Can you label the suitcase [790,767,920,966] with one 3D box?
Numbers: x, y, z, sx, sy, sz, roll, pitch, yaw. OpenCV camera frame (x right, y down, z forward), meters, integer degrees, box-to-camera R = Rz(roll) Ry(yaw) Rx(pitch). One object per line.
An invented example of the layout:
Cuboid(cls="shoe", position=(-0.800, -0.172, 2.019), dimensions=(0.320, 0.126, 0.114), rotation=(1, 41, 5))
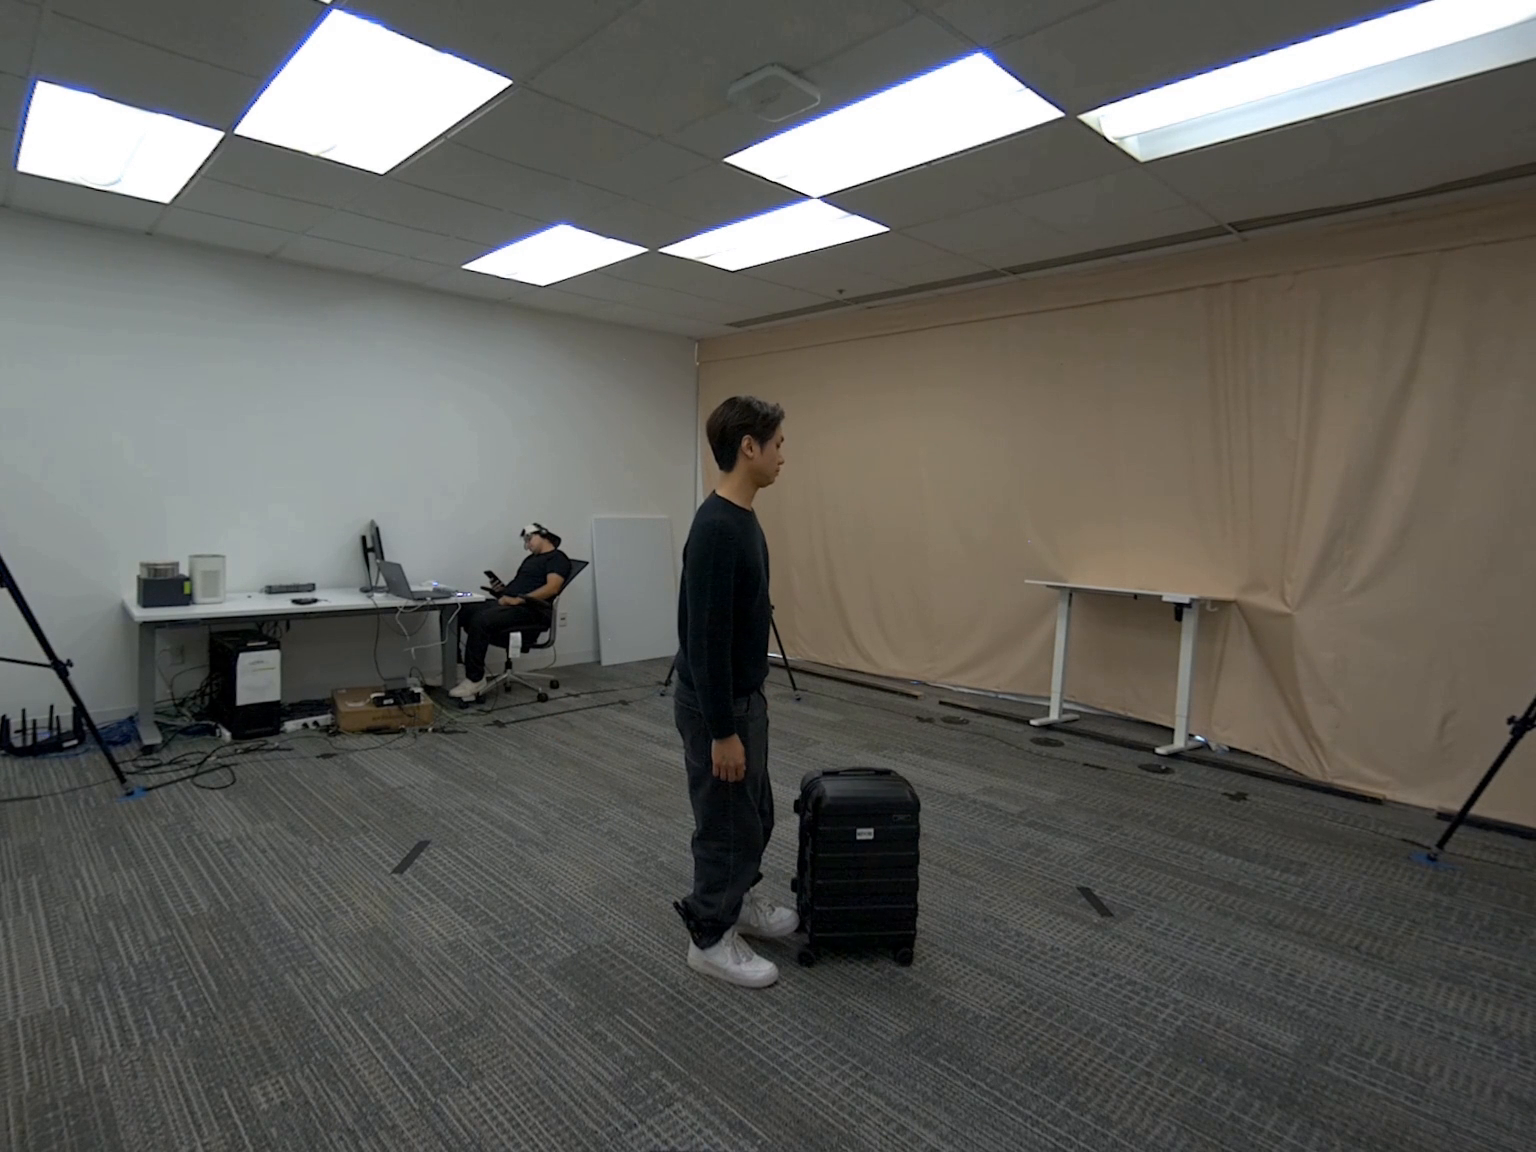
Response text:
Cuboid(cls="suitcase", position=(0.282, 0.888, 2.612), dimensions=(0.373, 0.548, 0.250), rotation=(3, 3, -8))
